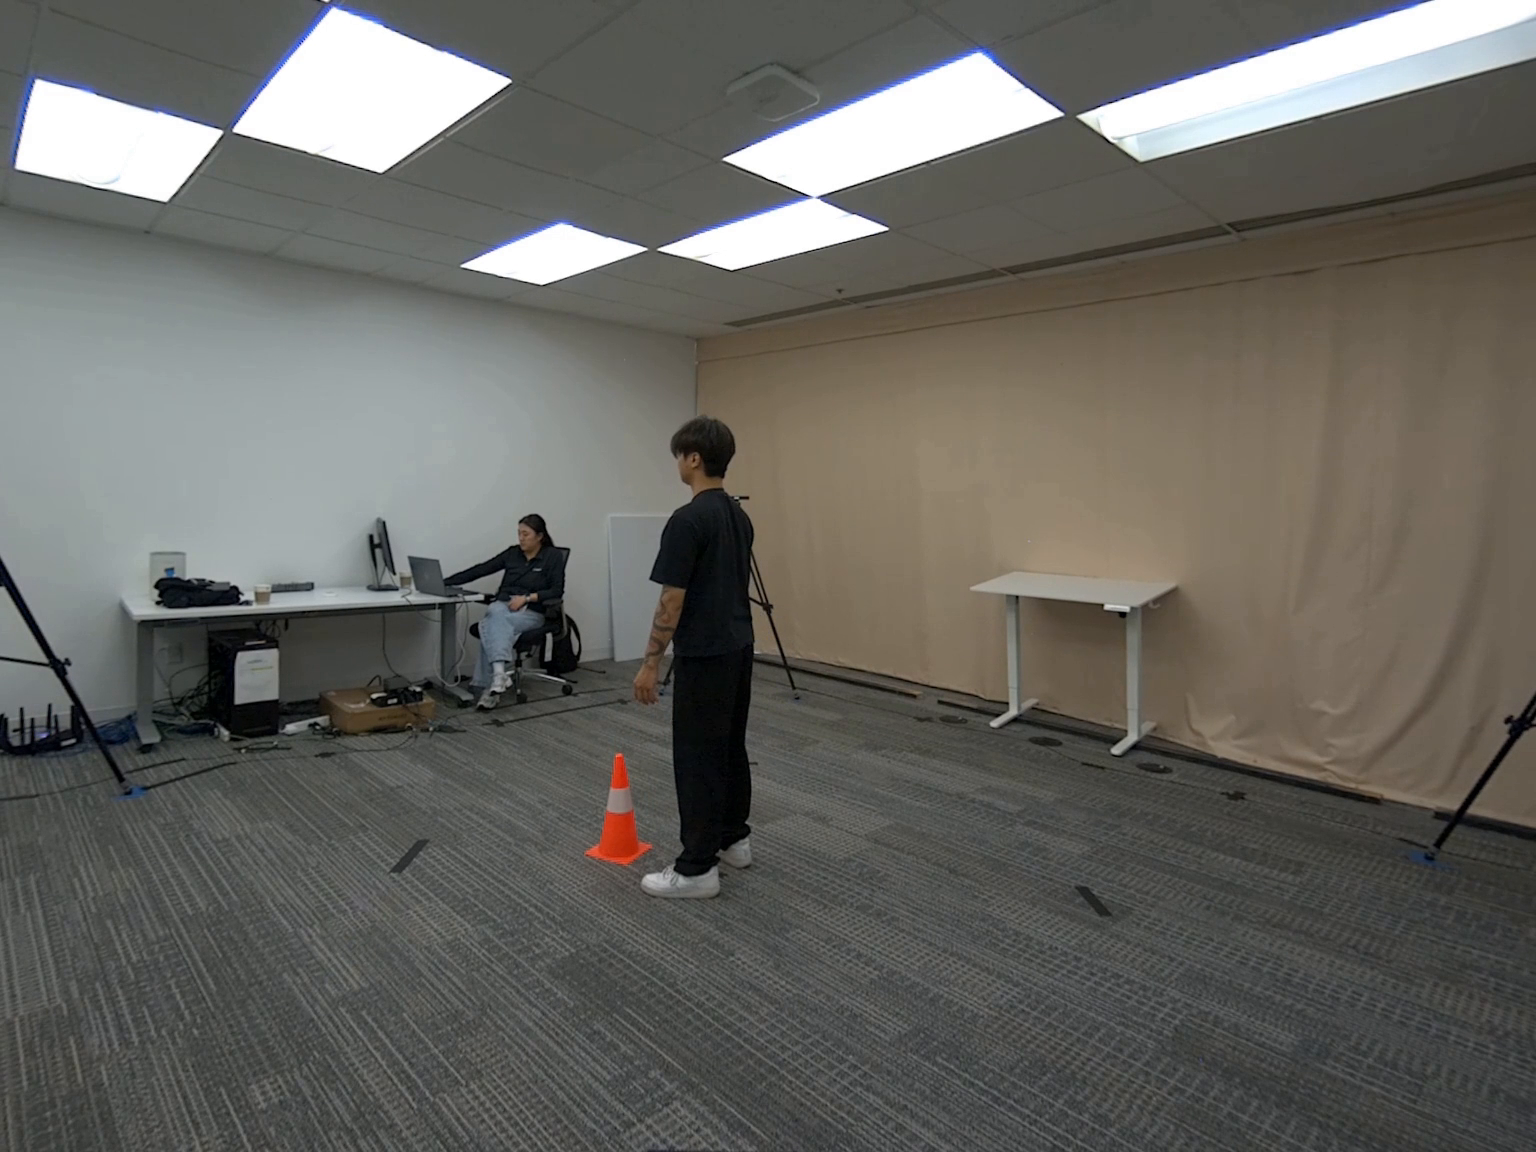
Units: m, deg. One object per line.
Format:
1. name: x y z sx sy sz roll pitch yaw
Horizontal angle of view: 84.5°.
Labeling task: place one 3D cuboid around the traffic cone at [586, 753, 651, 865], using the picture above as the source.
1. traffic cone: -0.585 0.886 3.290 0.209 0.383 0.200 3 4 26
